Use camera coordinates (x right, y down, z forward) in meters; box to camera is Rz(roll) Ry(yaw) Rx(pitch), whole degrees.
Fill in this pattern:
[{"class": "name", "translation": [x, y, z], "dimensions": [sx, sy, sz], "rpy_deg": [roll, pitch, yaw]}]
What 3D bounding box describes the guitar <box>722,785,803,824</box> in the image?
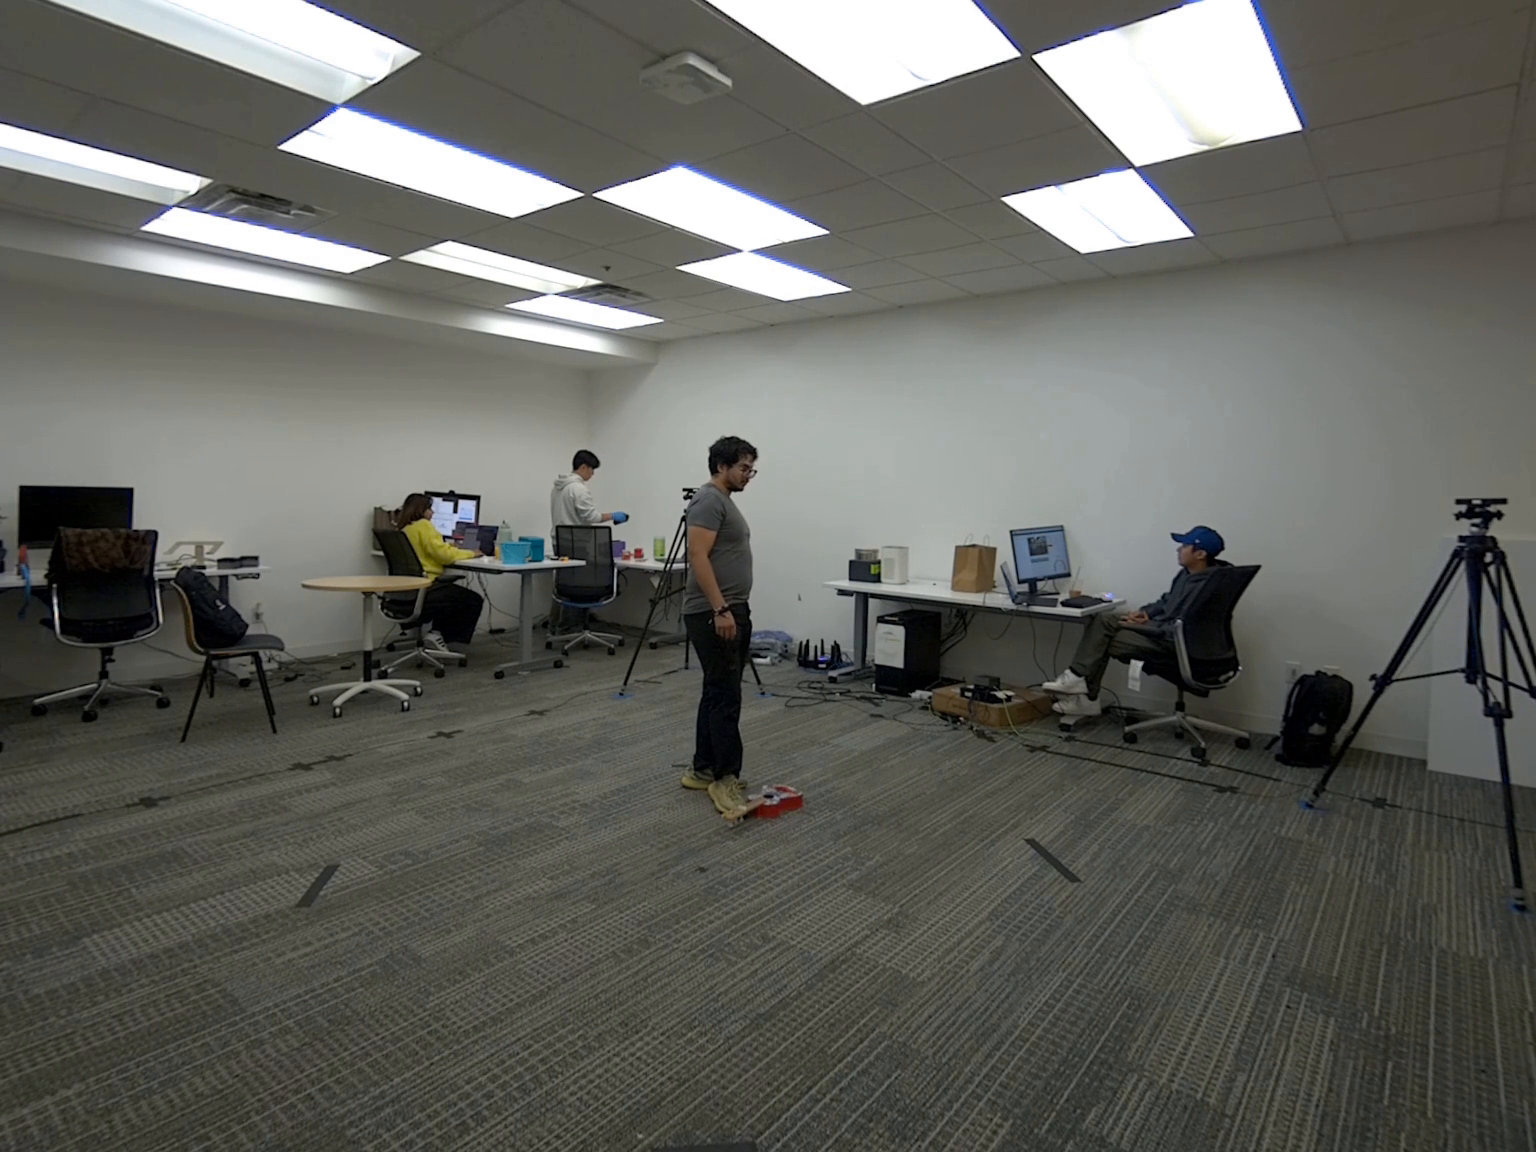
[{"class": "guitar", "translation": [-0.069, 0.986, 3.666], "dimensions": [0.200, 0.070, 0.483], "rpy_deg": [6, 7, 43]}]
